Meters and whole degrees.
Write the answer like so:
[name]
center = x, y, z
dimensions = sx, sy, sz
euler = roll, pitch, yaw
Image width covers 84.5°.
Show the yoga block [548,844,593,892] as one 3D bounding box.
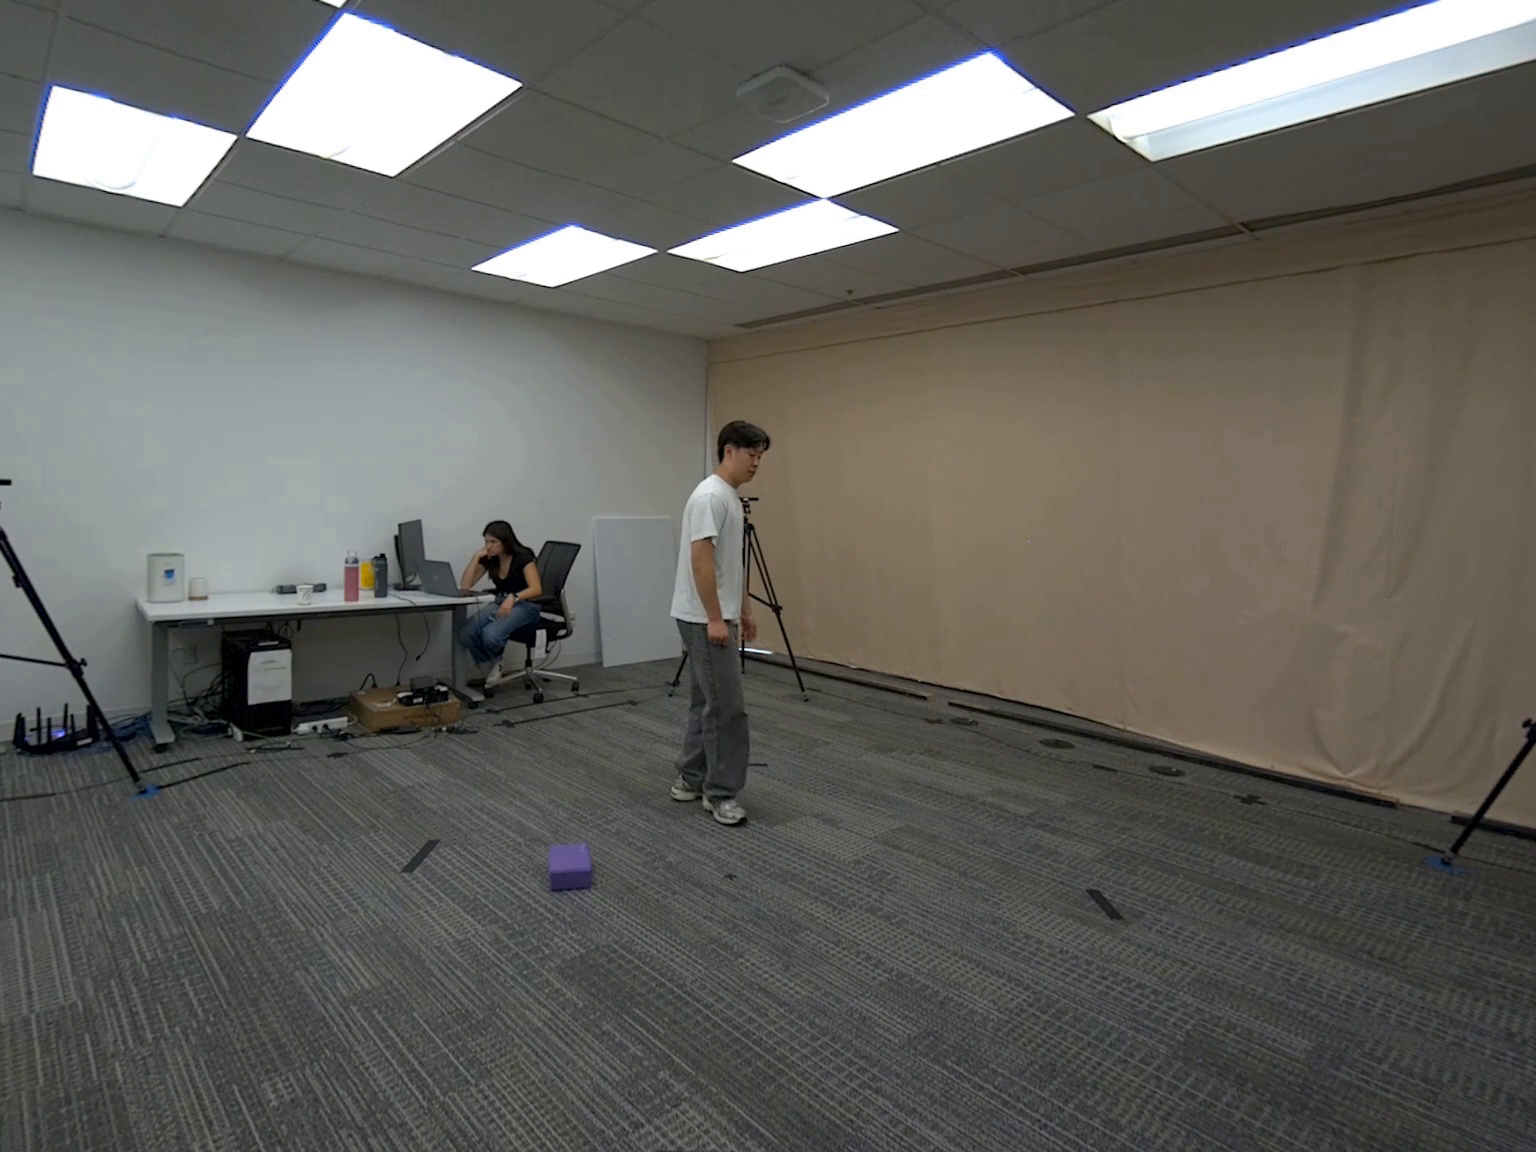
[yoga block]
center = -0.731, 1.061, 3.065
dimensions = 0.147, 0.076, 0.232
euler = 0, 6, -14
